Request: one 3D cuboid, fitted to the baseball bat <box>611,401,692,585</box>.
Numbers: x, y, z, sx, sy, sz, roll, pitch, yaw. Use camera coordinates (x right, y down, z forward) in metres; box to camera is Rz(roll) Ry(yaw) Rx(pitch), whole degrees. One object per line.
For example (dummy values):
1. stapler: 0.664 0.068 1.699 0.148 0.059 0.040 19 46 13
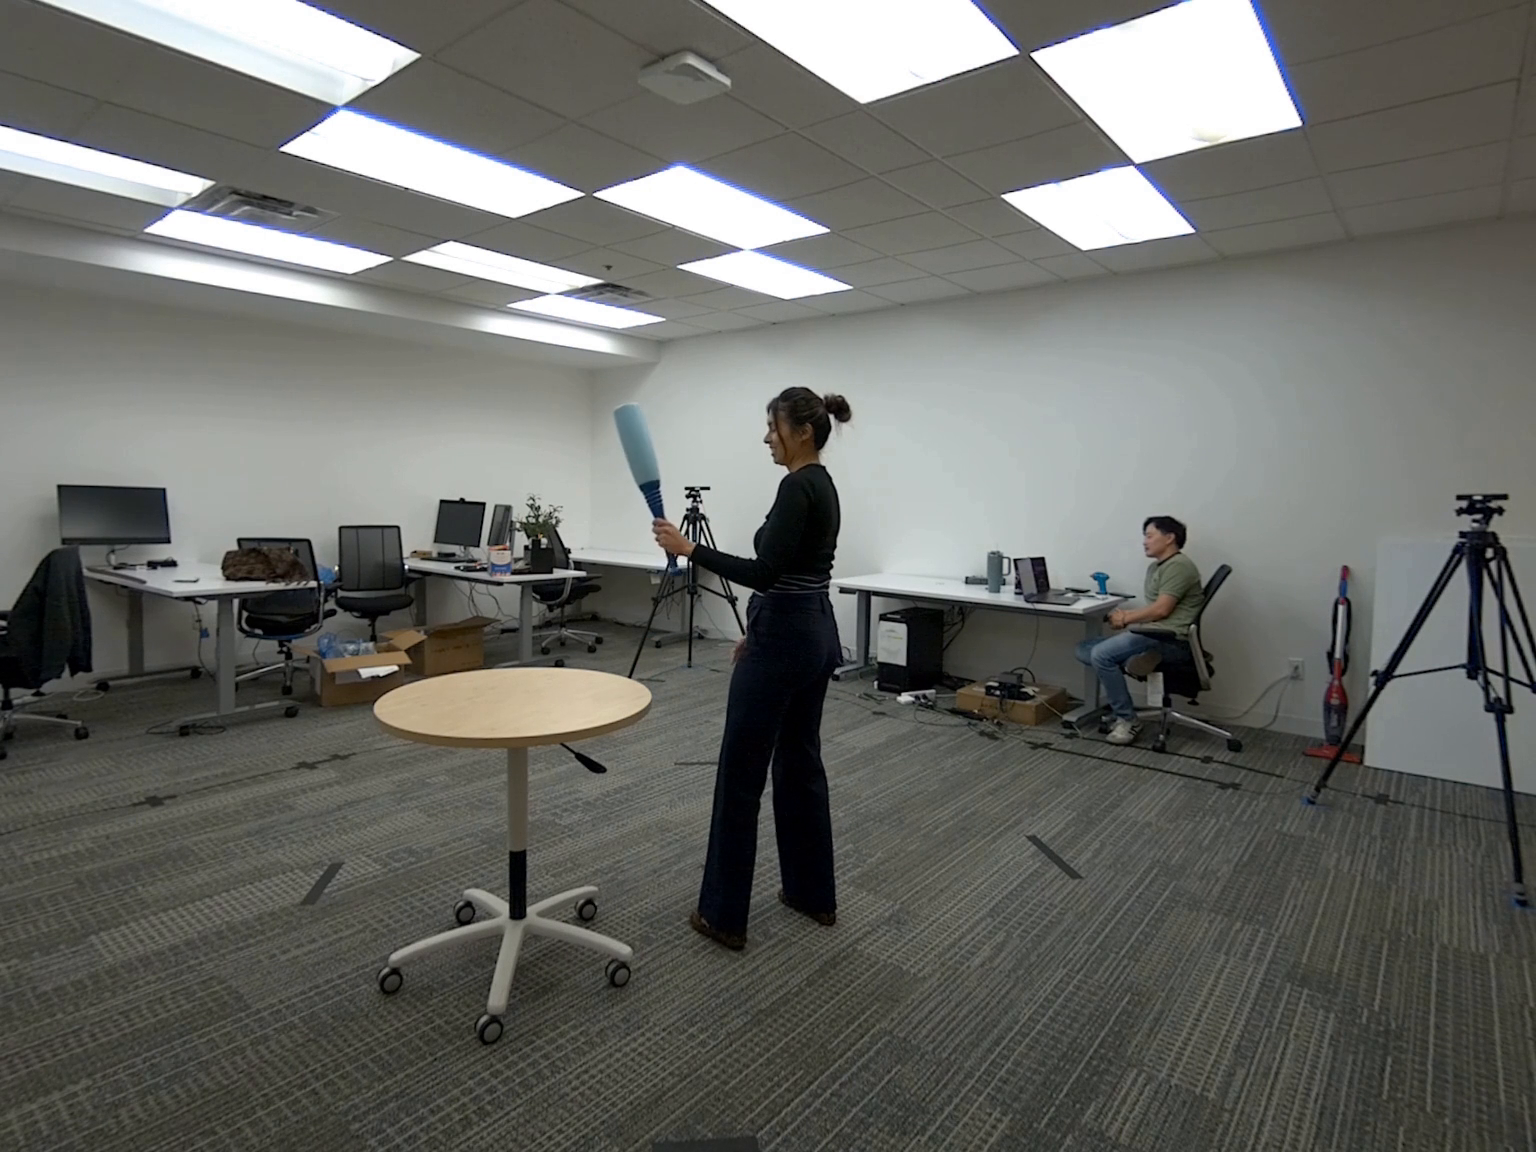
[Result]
1. baseball bat: -0.354 -0.250 2.549 0.089 0.545 0.089 -16 -3 -2
